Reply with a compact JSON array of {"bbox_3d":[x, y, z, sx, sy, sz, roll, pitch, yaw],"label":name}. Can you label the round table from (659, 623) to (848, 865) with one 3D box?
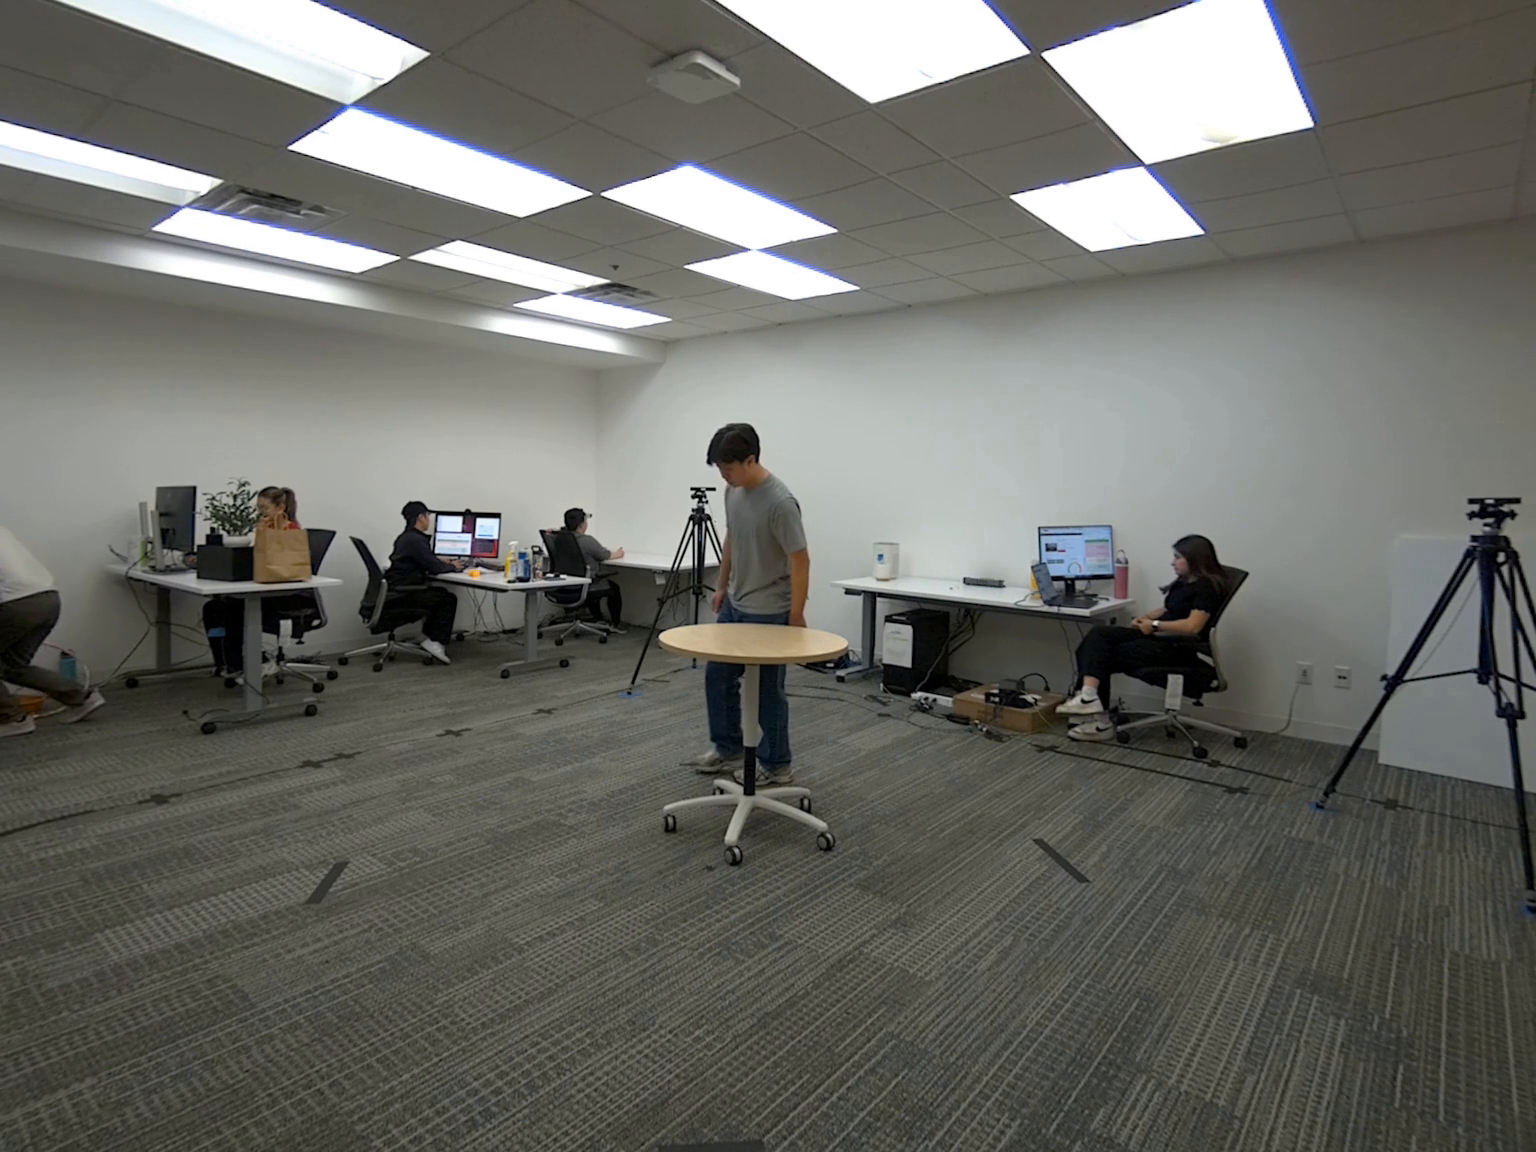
[{"bbox_3d":[-0.081,0.642,3.473,0.763,0.792,0.767,2,4,-2],"label":"round table"}]
